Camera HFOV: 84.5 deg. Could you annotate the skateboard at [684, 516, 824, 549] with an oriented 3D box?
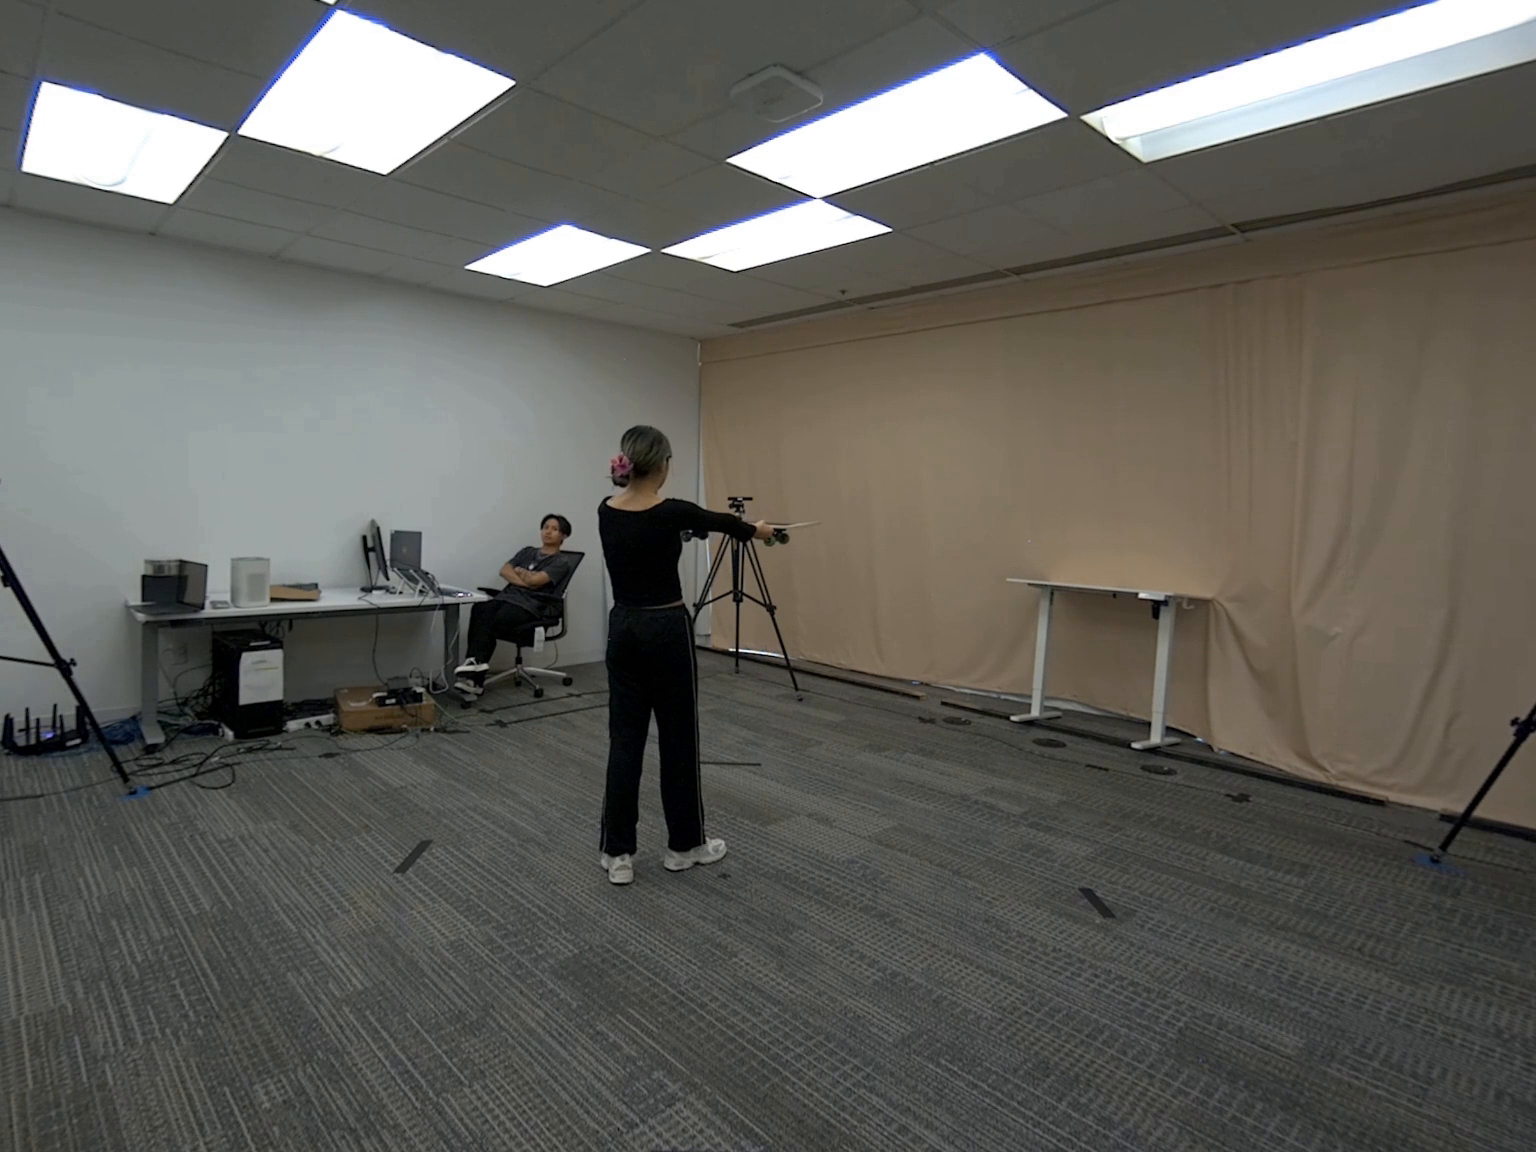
[{"bbox_3d":[-0.165,-0.198,3.648,0.802,0.110,0.190,4,7,30],"label":"skateboard"}]
